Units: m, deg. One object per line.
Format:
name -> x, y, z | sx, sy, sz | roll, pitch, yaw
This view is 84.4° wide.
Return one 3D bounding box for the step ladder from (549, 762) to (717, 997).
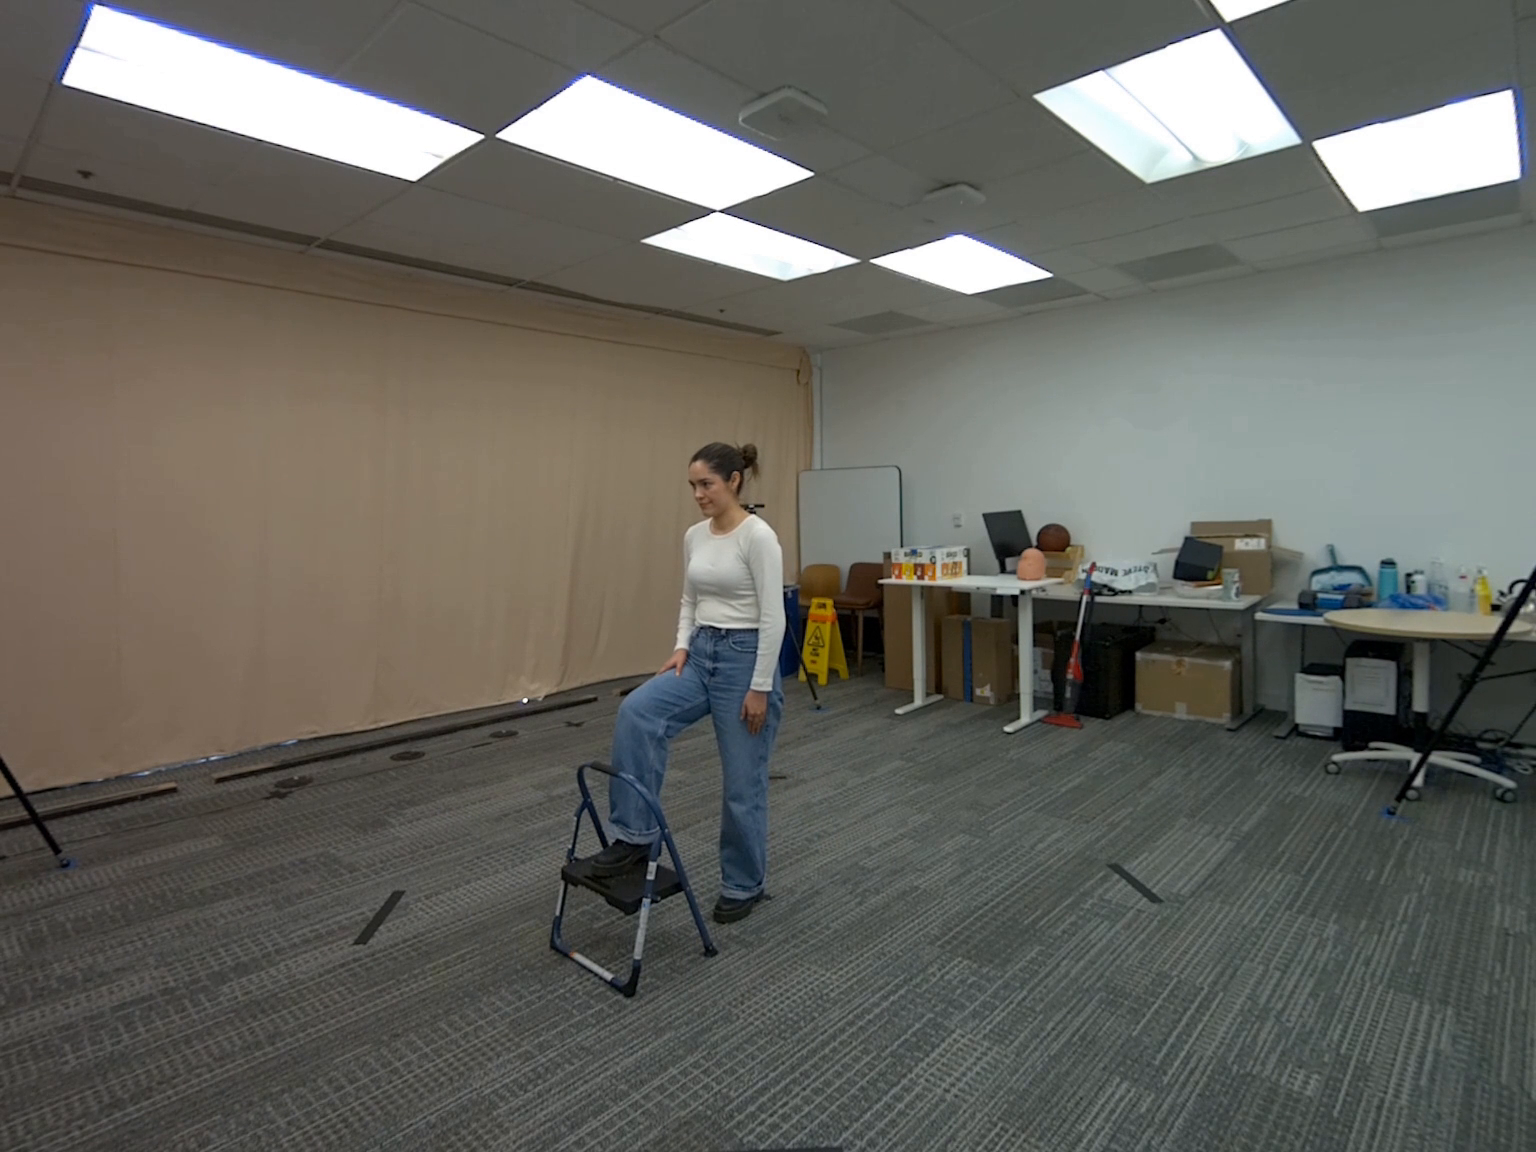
step ladder -> -0.433, 0.879, 2.632 | 0.445, 0.605, 0.339 | 2, 4, 43
